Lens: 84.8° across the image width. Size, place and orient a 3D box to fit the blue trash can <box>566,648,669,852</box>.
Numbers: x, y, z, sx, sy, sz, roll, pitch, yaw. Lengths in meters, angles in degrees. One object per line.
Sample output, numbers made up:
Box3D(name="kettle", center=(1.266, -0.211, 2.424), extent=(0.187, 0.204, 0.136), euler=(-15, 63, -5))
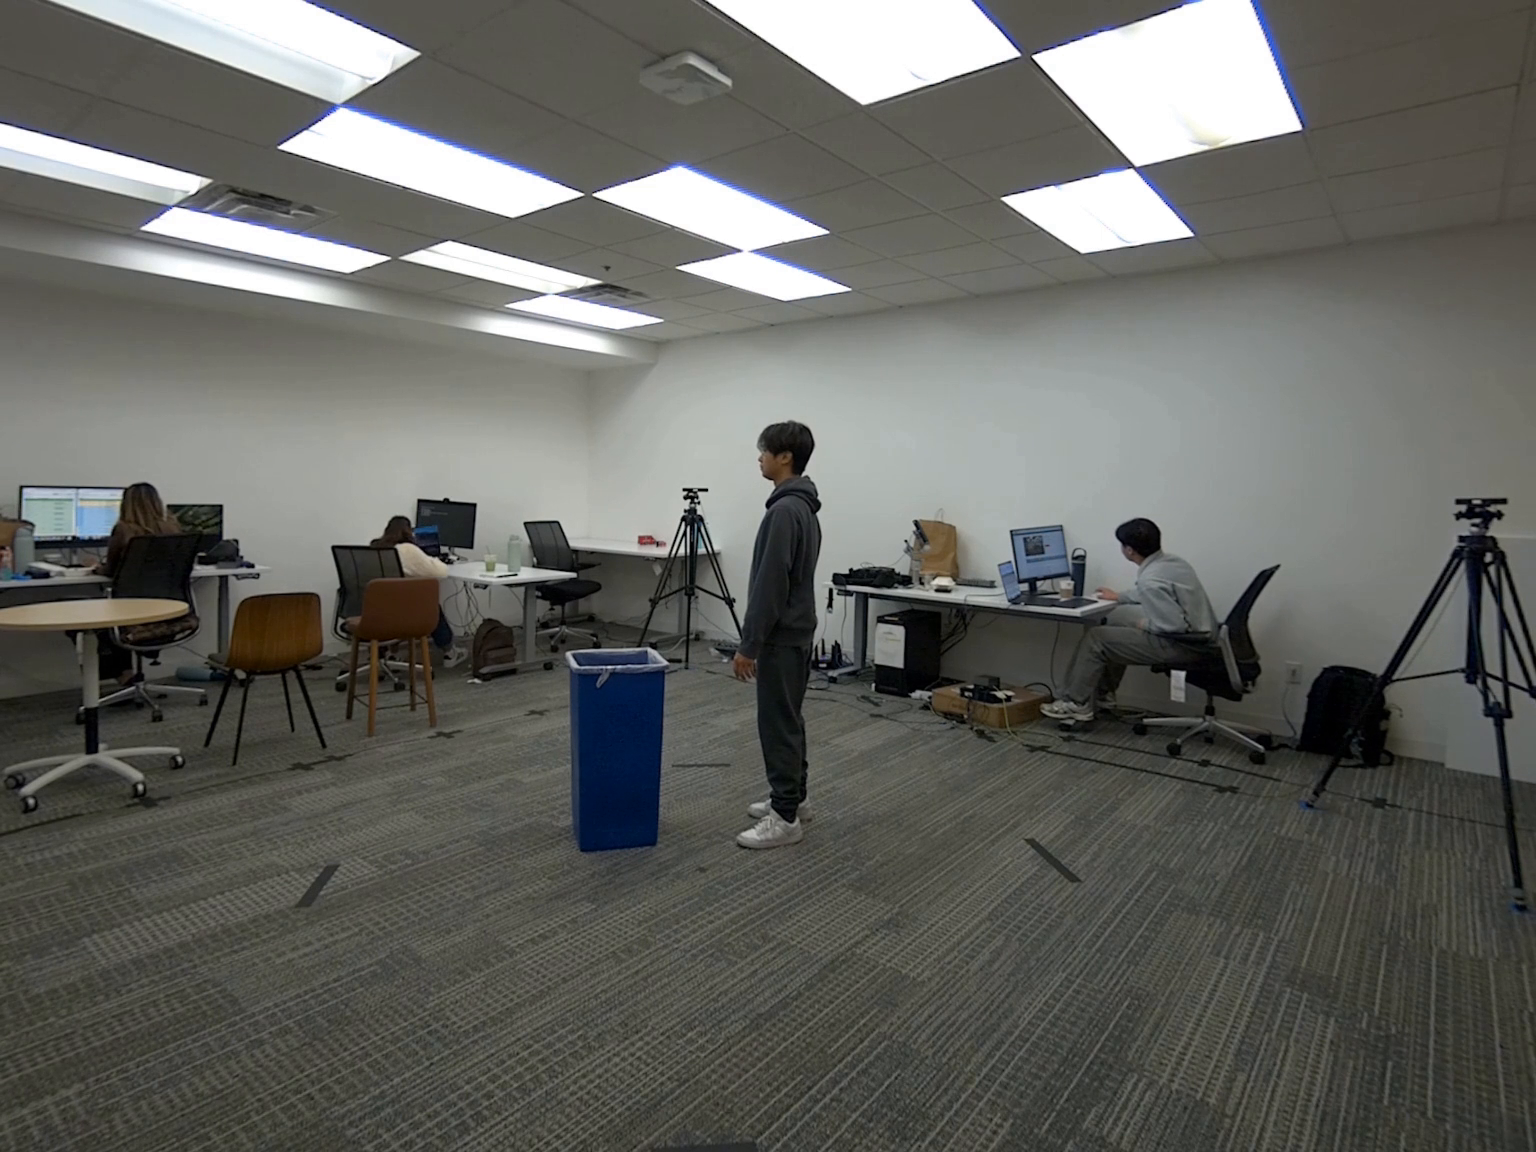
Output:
Box3D(name="blue trash can", center=(-0.628, 0.675, 3.408), extent=(0.372, 0.712, 0.381), euler=(0, 3, -17))
